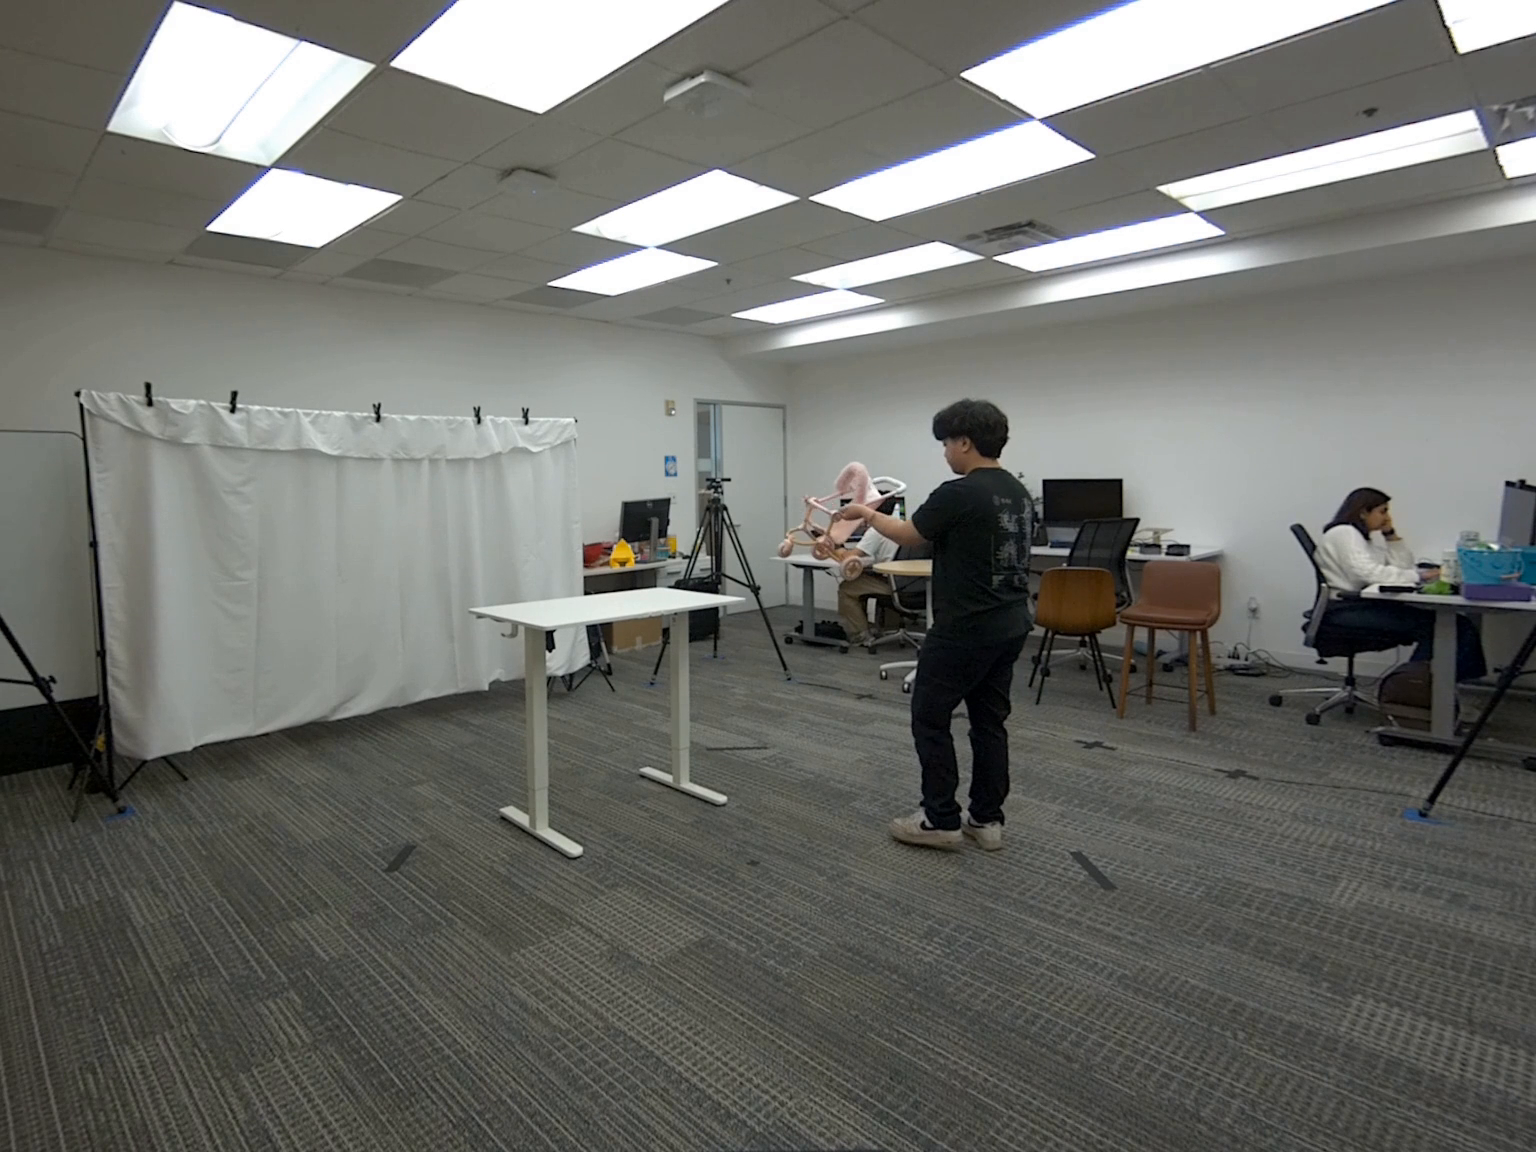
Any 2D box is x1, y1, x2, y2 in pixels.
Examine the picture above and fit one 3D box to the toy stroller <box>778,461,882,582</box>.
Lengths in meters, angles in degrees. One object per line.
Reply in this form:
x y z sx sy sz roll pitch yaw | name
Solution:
0.293 -0.249 3.595 0.331 0.534 0.290 29 5 -26 | toy stroller
